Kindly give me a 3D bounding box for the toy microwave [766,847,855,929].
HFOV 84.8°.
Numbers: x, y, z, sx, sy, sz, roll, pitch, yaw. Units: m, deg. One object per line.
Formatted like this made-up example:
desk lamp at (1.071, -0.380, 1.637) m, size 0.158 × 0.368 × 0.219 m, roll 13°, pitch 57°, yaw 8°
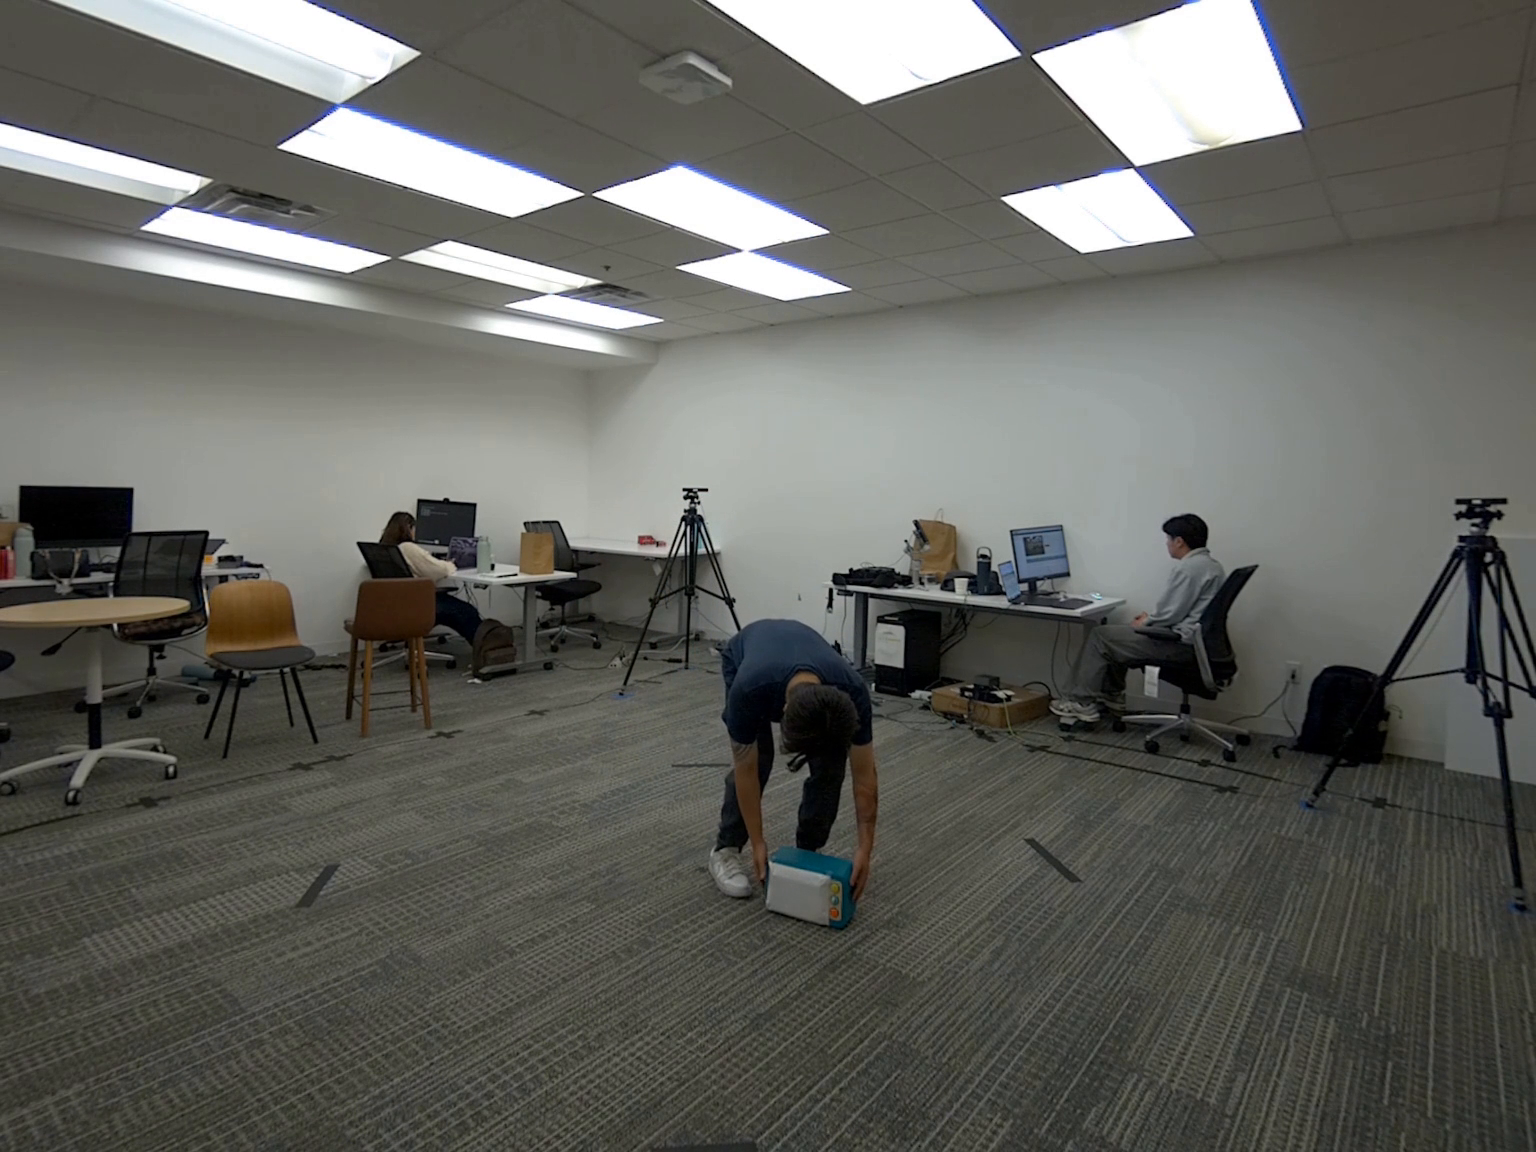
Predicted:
toy microwave at (0.128, 1.016, 2.792) m, size 0.293 × 0.183 × 0.149 m, roll 3°, pitch 4°, yaw 24°
